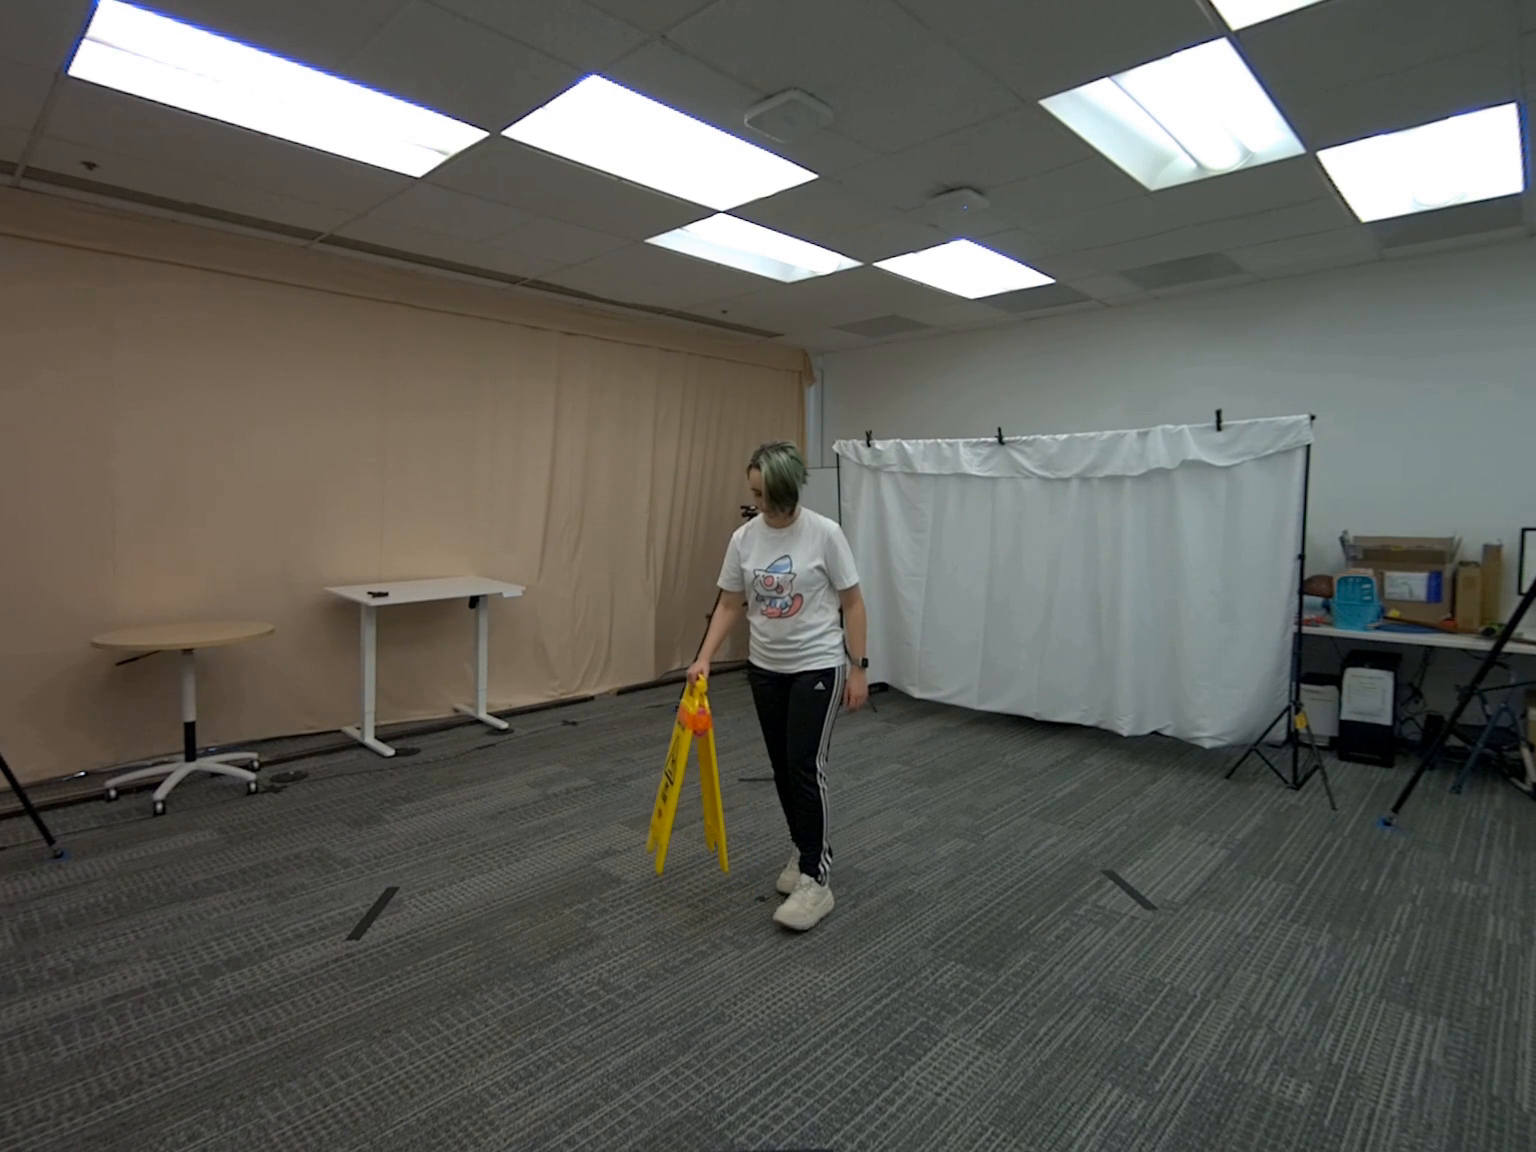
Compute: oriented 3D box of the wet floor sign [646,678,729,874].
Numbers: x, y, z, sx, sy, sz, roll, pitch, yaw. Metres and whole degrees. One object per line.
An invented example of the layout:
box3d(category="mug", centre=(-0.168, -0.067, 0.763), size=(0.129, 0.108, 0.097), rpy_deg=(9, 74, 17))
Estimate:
box3d(category="wet floor sign", centre=(-0.266, 0.674, 2.938), size=(0.285, 0.646, 0.286), rpy_deg=(2, -1, -15))
